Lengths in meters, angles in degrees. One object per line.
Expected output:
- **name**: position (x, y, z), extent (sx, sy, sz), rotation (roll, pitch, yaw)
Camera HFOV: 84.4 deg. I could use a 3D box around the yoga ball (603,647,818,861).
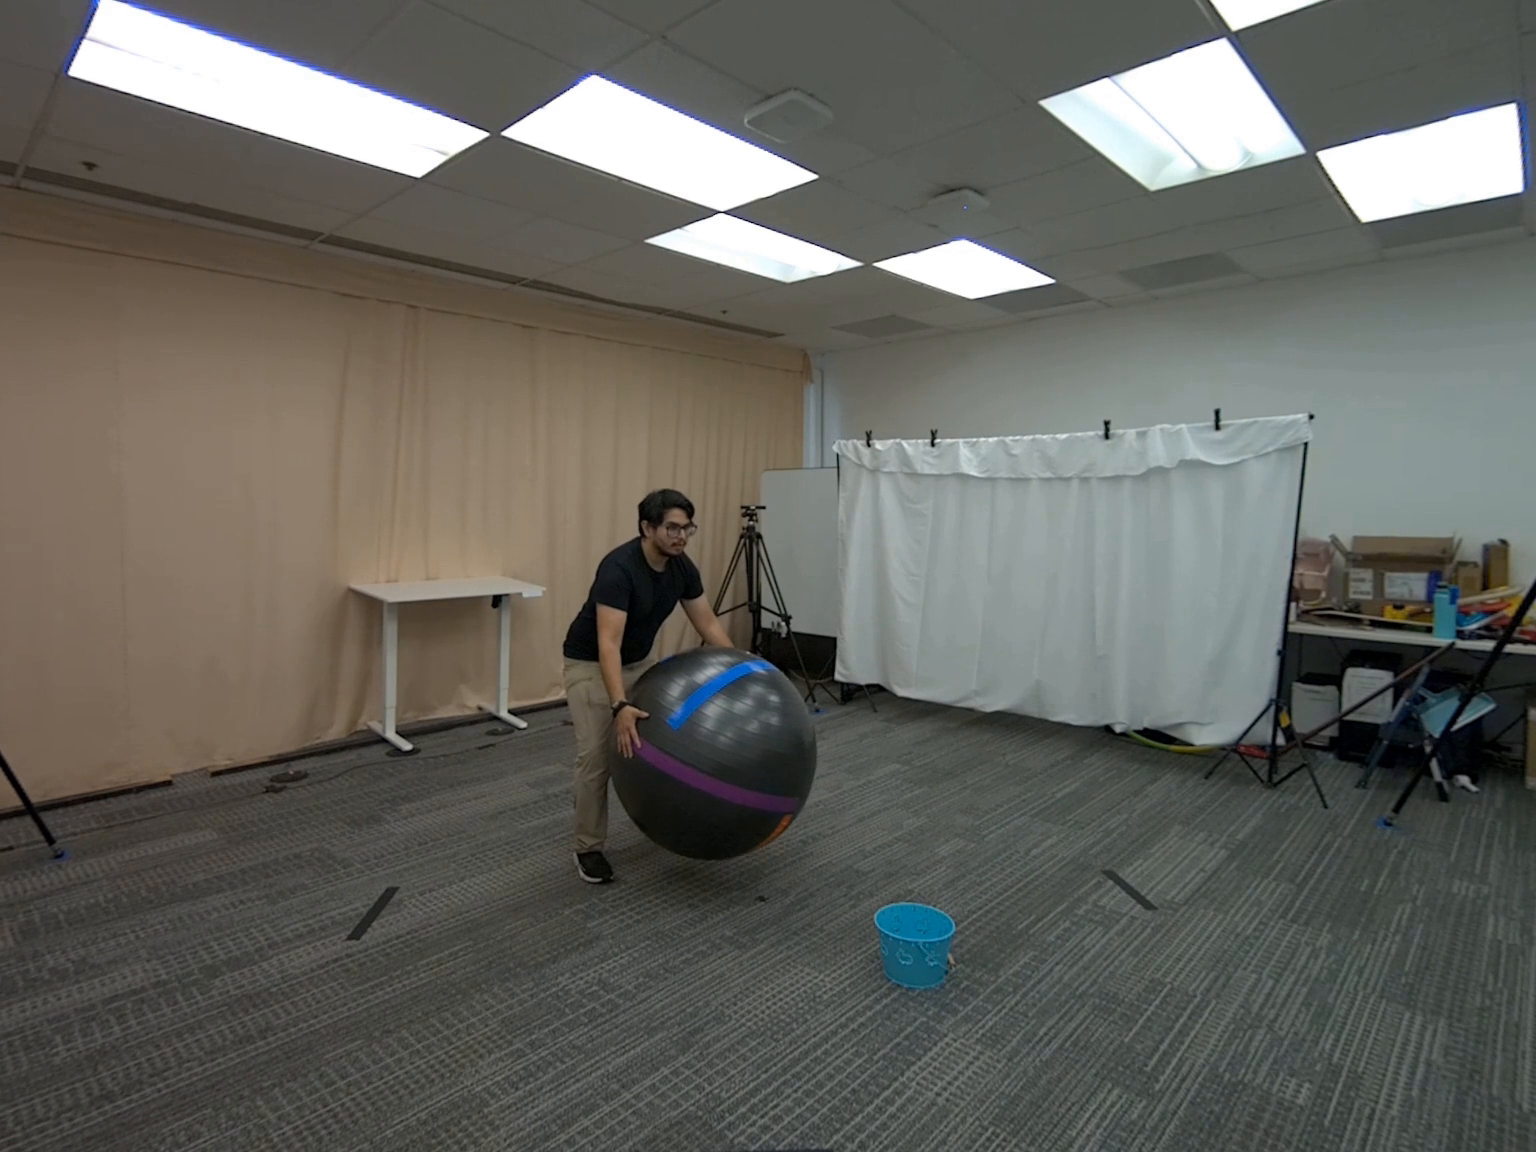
- **yoga ball**: position (-0.200, 0.643, 3.090), extent (0.757, 0.756, 0.761), rotation (0, 4, -2)
